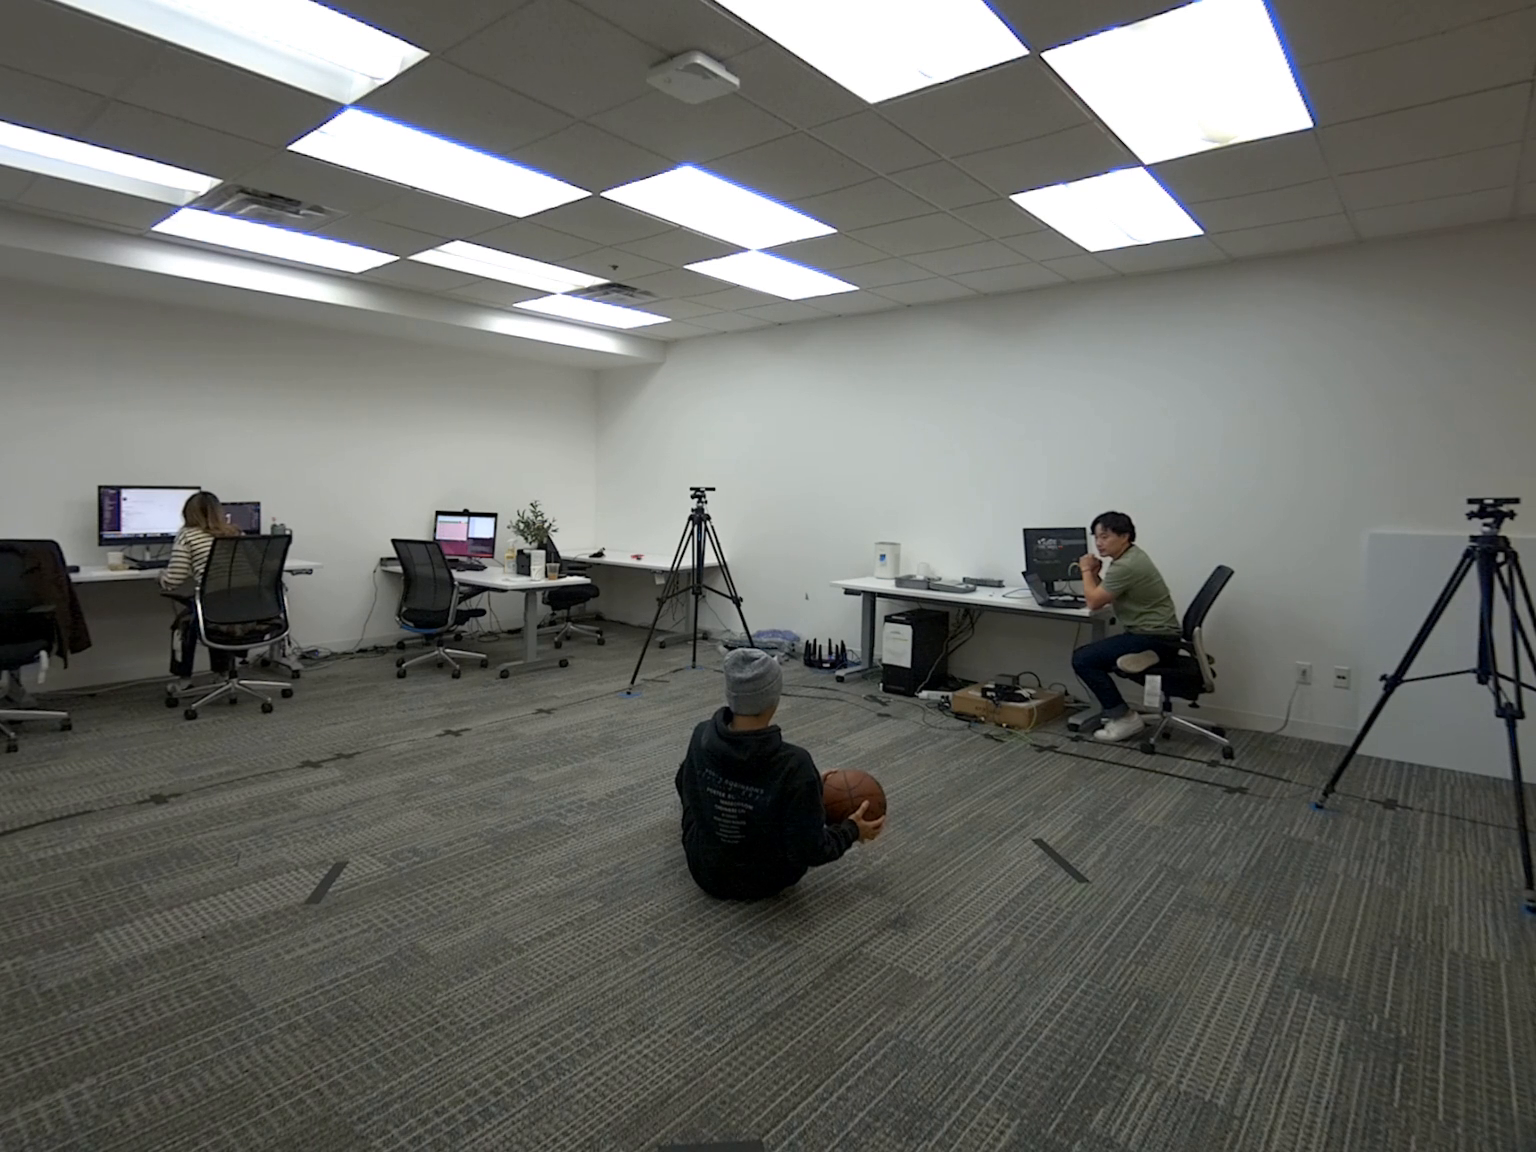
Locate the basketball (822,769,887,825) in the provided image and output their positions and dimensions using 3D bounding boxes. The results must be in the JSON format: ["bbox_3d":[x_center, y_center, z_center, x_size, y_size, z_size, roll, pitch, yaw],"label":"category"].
[{"bbox_3d":[0.285,0.796,3.003,0.235,0.235,0.237,1,4,-2],"label":"basketball"}]
